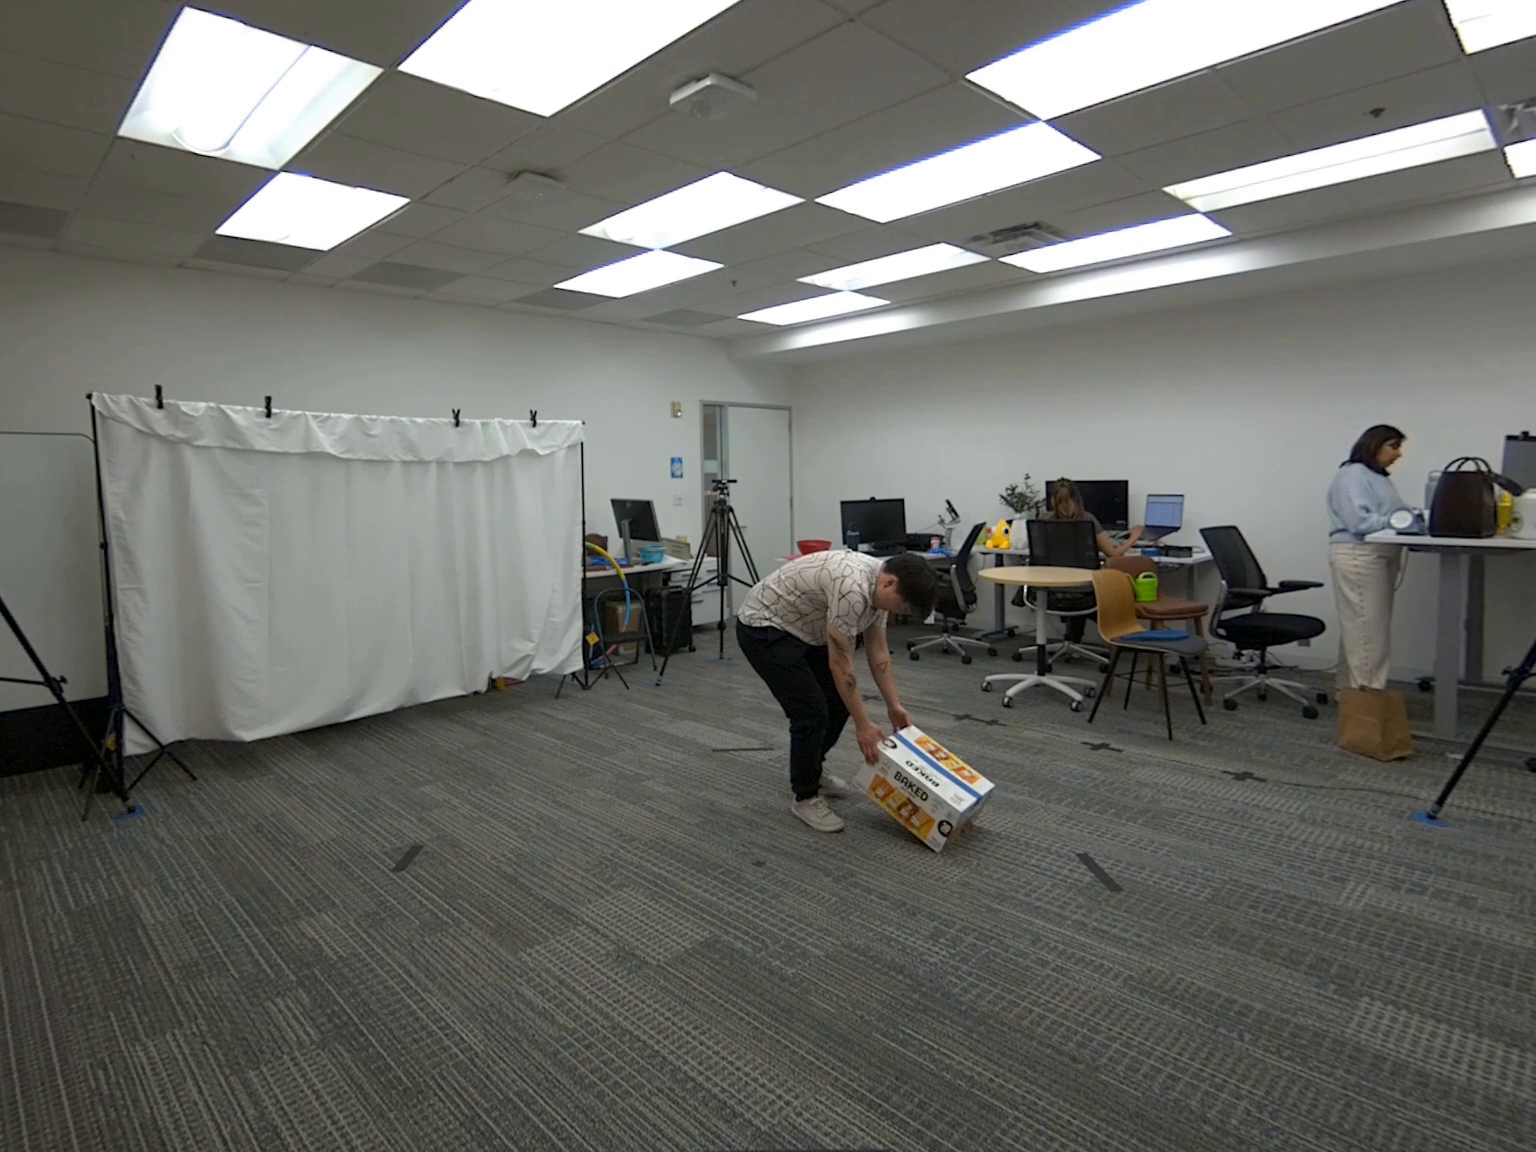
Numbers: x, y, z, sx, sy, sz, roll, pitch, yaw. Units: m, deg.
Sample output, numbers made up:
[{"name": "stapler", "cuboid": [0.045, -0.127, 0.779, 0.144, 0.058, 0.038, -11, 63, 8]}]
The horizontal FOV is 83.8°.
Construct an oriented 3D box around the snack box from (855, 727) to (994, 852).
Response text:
[{"name": "snack box", "cuboid": [0.622, 0.828, 3.362, 0.419, 0.204, 0.332, 34, 24, 30]}]
